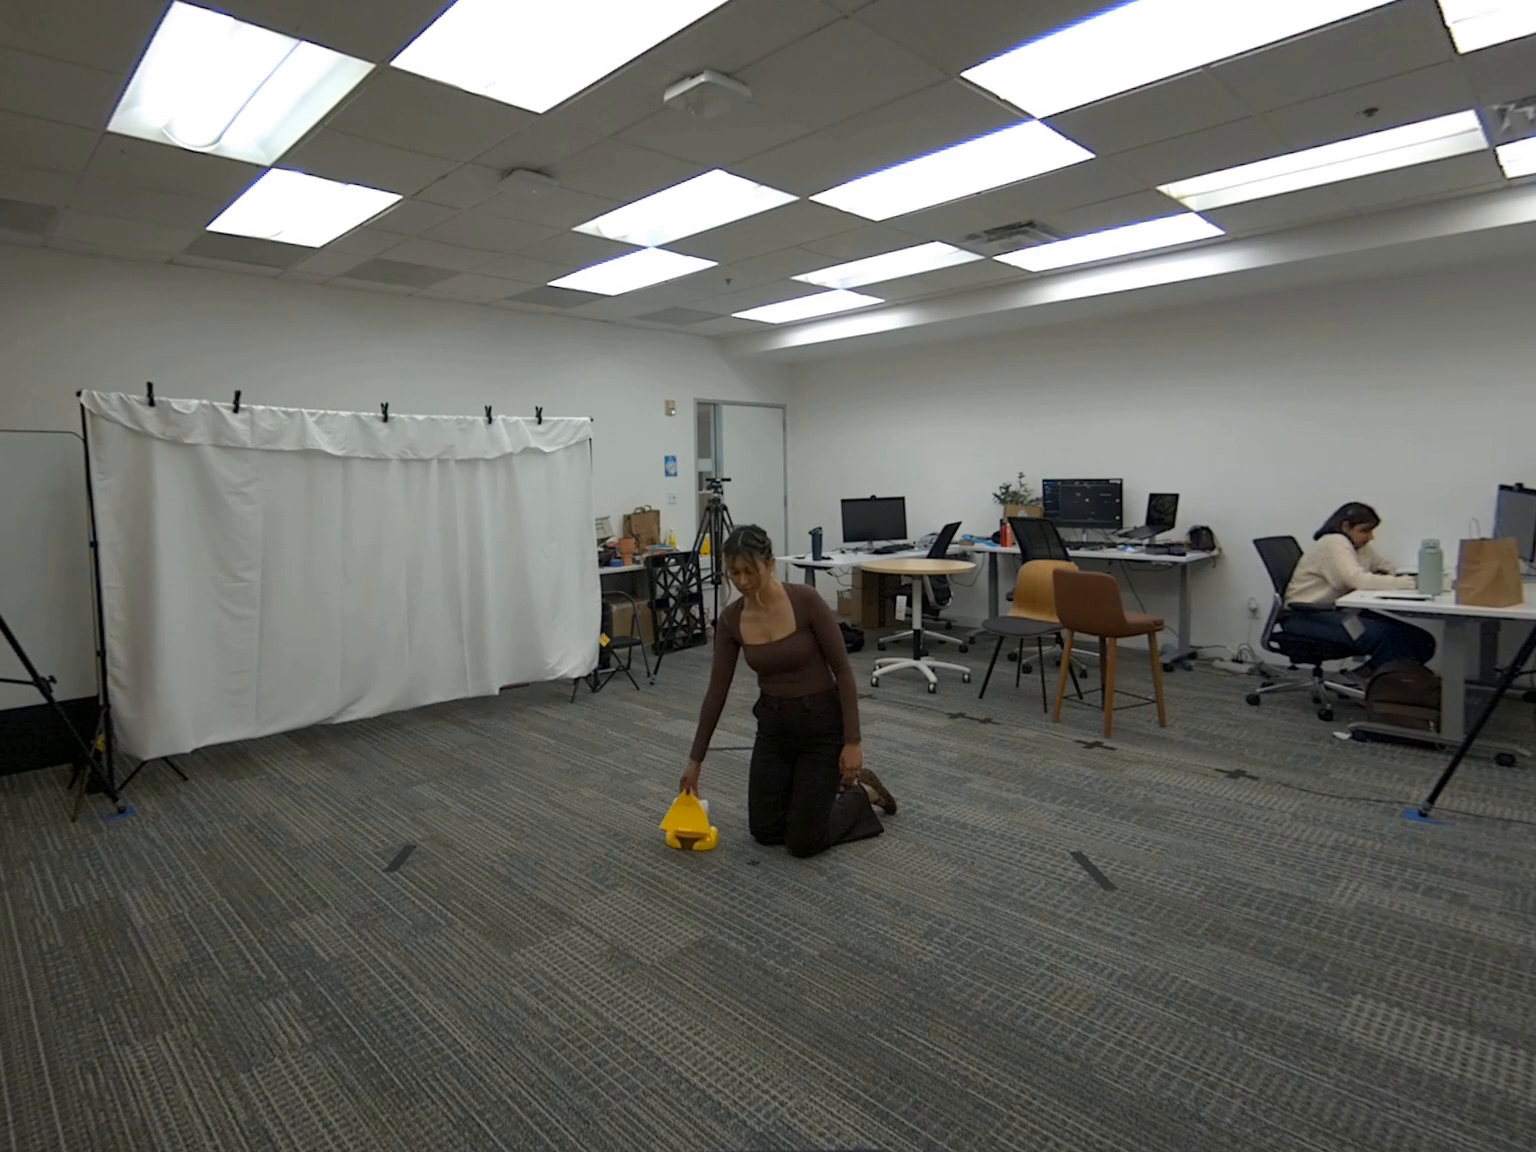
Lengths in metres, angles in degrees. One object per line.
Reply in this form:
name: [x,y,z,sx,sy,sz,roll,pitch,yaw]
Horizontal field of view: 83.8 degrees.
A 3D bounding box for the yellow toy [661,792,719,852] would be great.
yellow toy: [-0.287,0.912,3.289,0.208,0.229,0.191,1,6,13]
